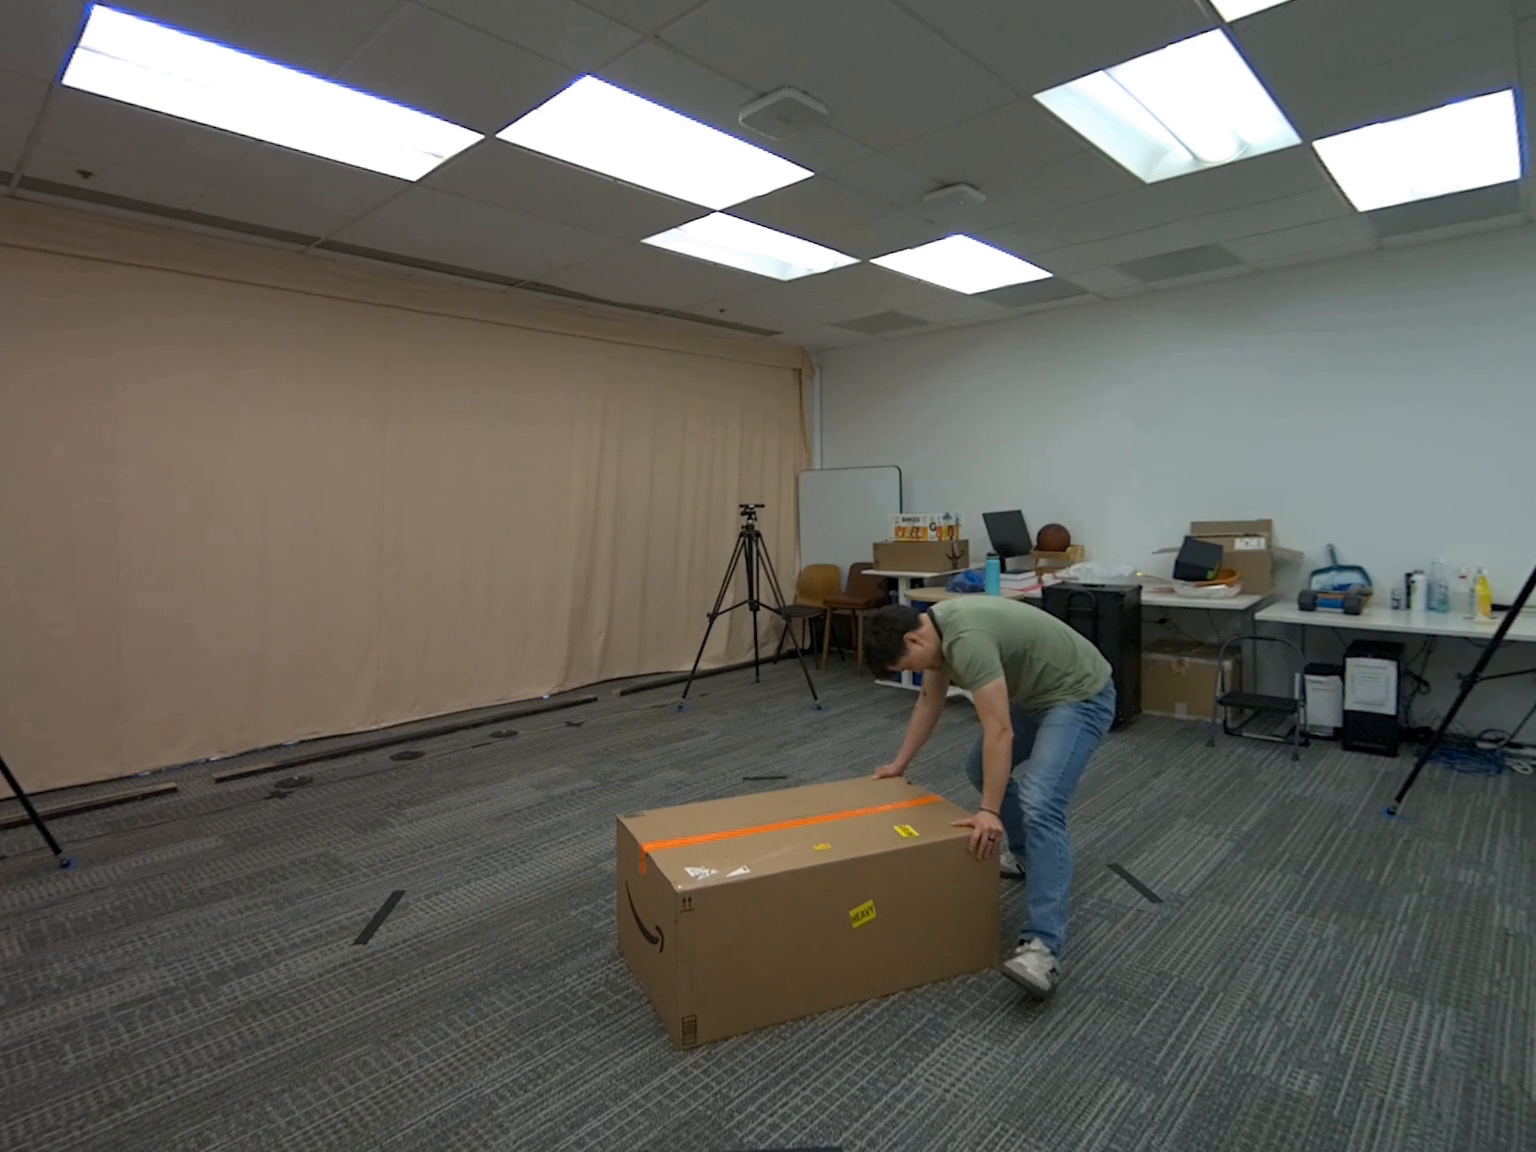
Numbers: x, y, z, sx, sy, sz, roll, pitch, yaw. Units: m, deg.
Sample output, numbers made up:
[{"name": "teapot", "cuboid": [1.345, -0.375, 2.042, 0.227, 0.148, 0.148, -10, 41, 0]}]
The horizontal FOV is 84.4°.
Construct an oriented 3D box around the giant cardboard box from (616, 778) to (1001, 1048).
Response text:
[{"name": "giant cardboard box", "cuboid": [0.106, 0.960, 2.587, 1.003, 0.425, 0.592, -2, 5, -23]}]
